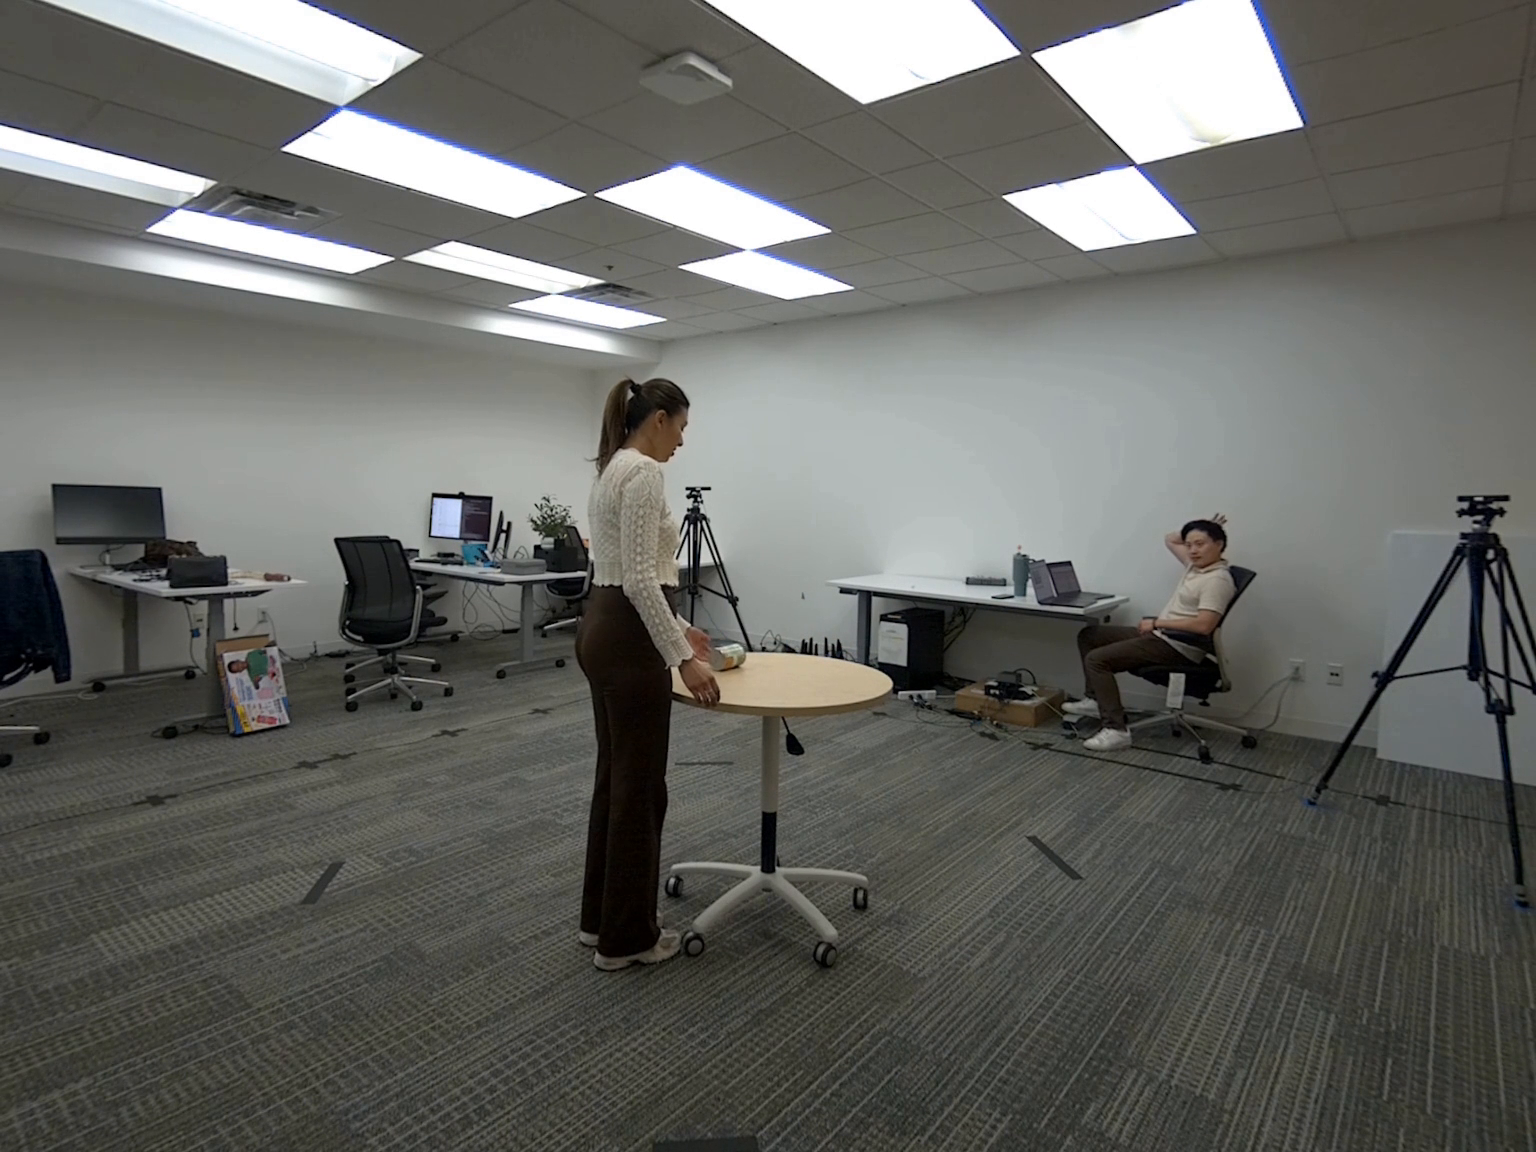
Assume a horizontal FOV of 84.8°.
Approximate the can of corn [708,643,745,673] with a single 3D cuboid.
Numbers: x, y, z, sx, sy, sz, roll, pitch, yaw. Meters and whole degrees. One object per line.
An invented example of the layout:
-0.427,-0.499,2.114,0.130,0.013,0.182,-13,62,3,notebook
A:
-0.145,0.269,2.854,0.077,0.074,0.108,4,5,38,can of corn
